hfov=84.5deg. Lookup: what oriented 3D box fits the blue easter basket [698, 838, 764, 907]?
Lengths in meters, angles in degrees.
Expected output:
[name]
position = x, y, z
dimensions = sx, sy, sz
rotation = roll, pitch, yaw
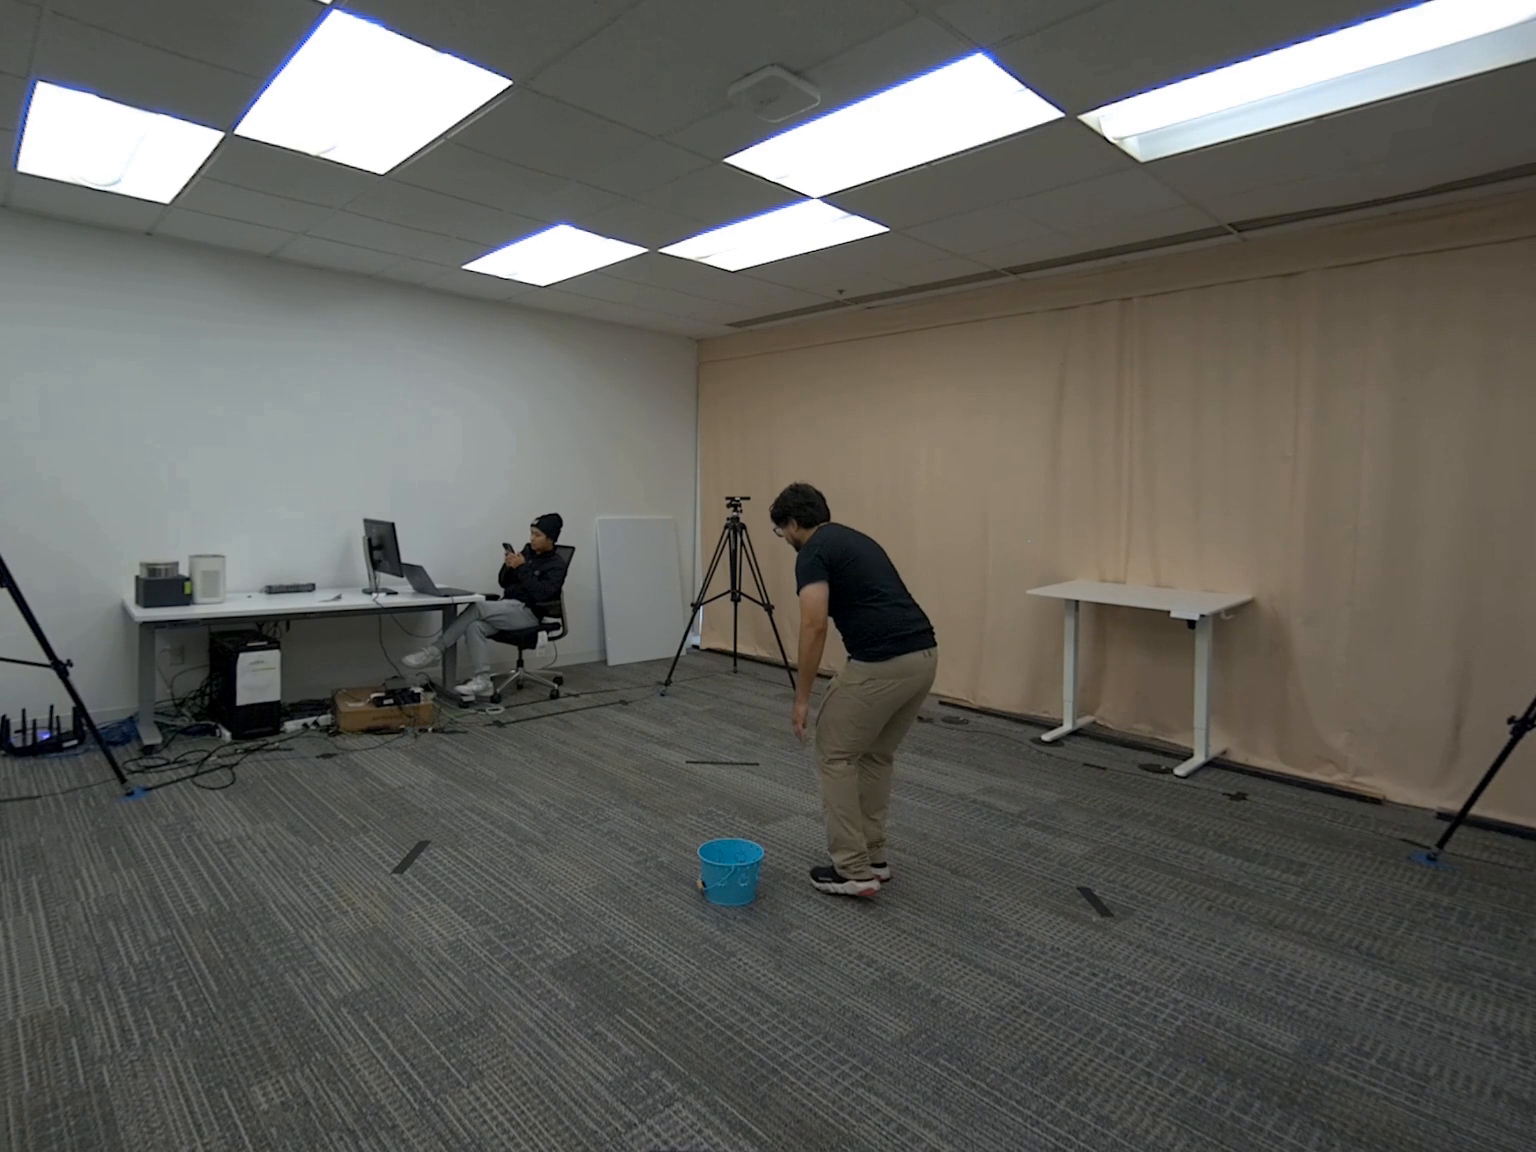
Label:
[blue easter basket]
position = -0.145, 1.039, 2.966
dimensions = 0.243, 0.155, 0.244
rotation = 1, 4, -1
